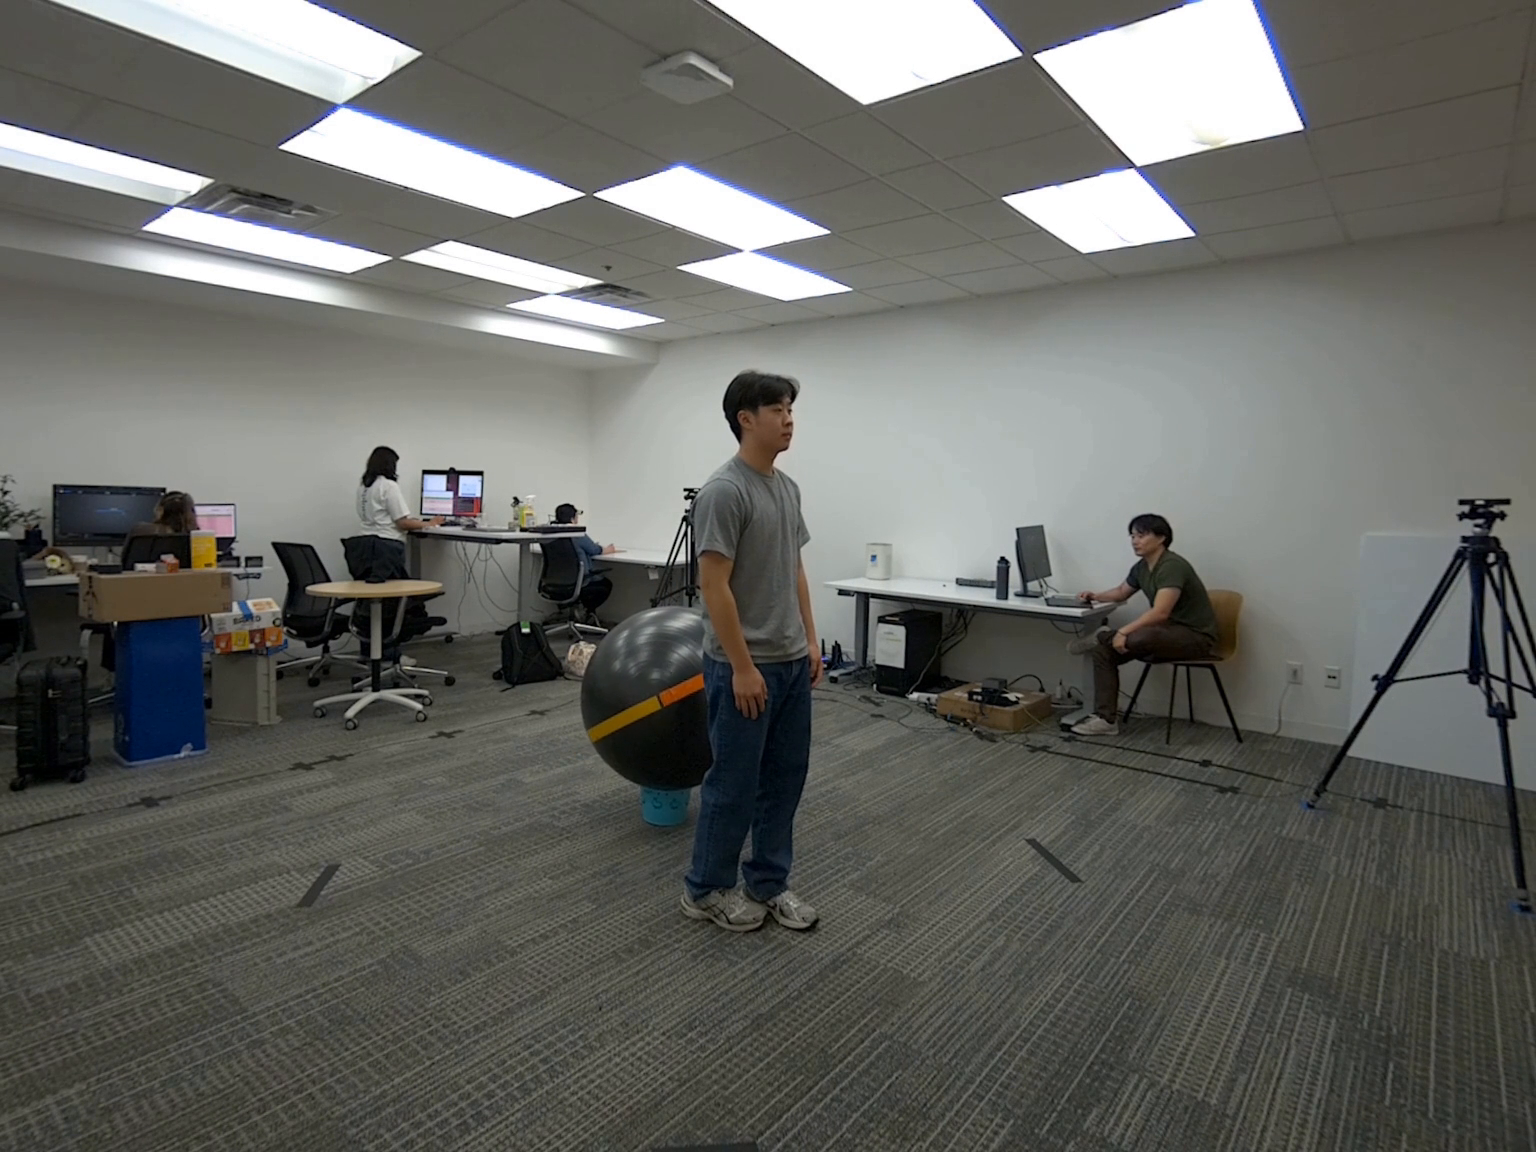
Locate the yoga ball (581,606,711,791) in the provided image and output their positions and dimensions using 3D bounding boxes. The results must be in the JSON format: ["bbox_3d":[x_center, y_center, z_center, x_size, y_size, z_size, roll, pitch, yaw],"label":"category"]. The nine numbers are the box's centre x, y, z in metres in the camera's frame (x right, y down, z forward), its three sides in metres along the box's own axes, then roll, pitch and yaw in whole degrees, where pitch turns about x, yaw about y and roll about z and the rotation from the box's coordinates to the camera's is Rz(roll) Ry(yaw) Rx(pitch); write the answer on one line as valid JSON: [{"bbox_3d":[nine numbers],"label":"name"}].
[{"bbox_3d":[-0.430,0.512,3.594,0.757,0.756,0.761,1,4,-2],"label":"yoga ball"}]
